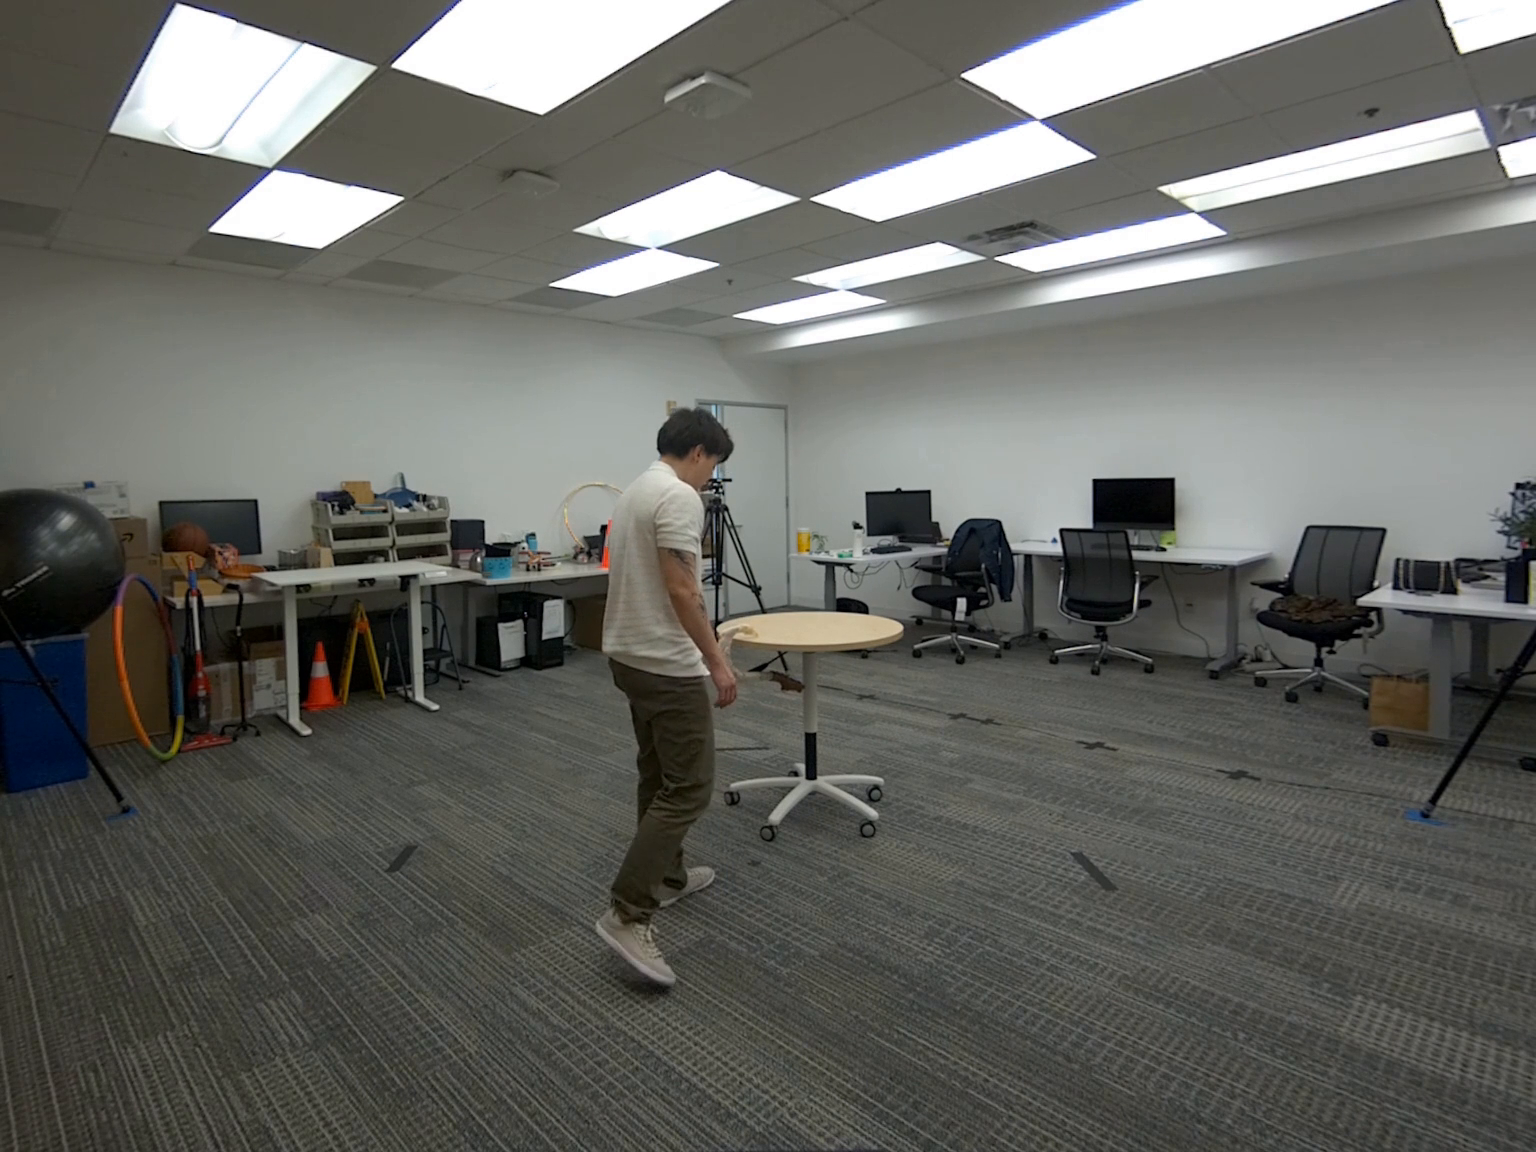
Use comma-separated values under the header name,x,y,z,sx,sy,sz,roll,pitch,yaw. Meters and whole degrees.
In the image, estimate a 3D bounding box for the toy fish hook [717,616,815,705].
name,x,y,z,sx,sy,sz,roll,pitch,yaw
toy fish hook,-0.017,0.334,3.351,0.050,0.226,0.488,-2,-19,45
